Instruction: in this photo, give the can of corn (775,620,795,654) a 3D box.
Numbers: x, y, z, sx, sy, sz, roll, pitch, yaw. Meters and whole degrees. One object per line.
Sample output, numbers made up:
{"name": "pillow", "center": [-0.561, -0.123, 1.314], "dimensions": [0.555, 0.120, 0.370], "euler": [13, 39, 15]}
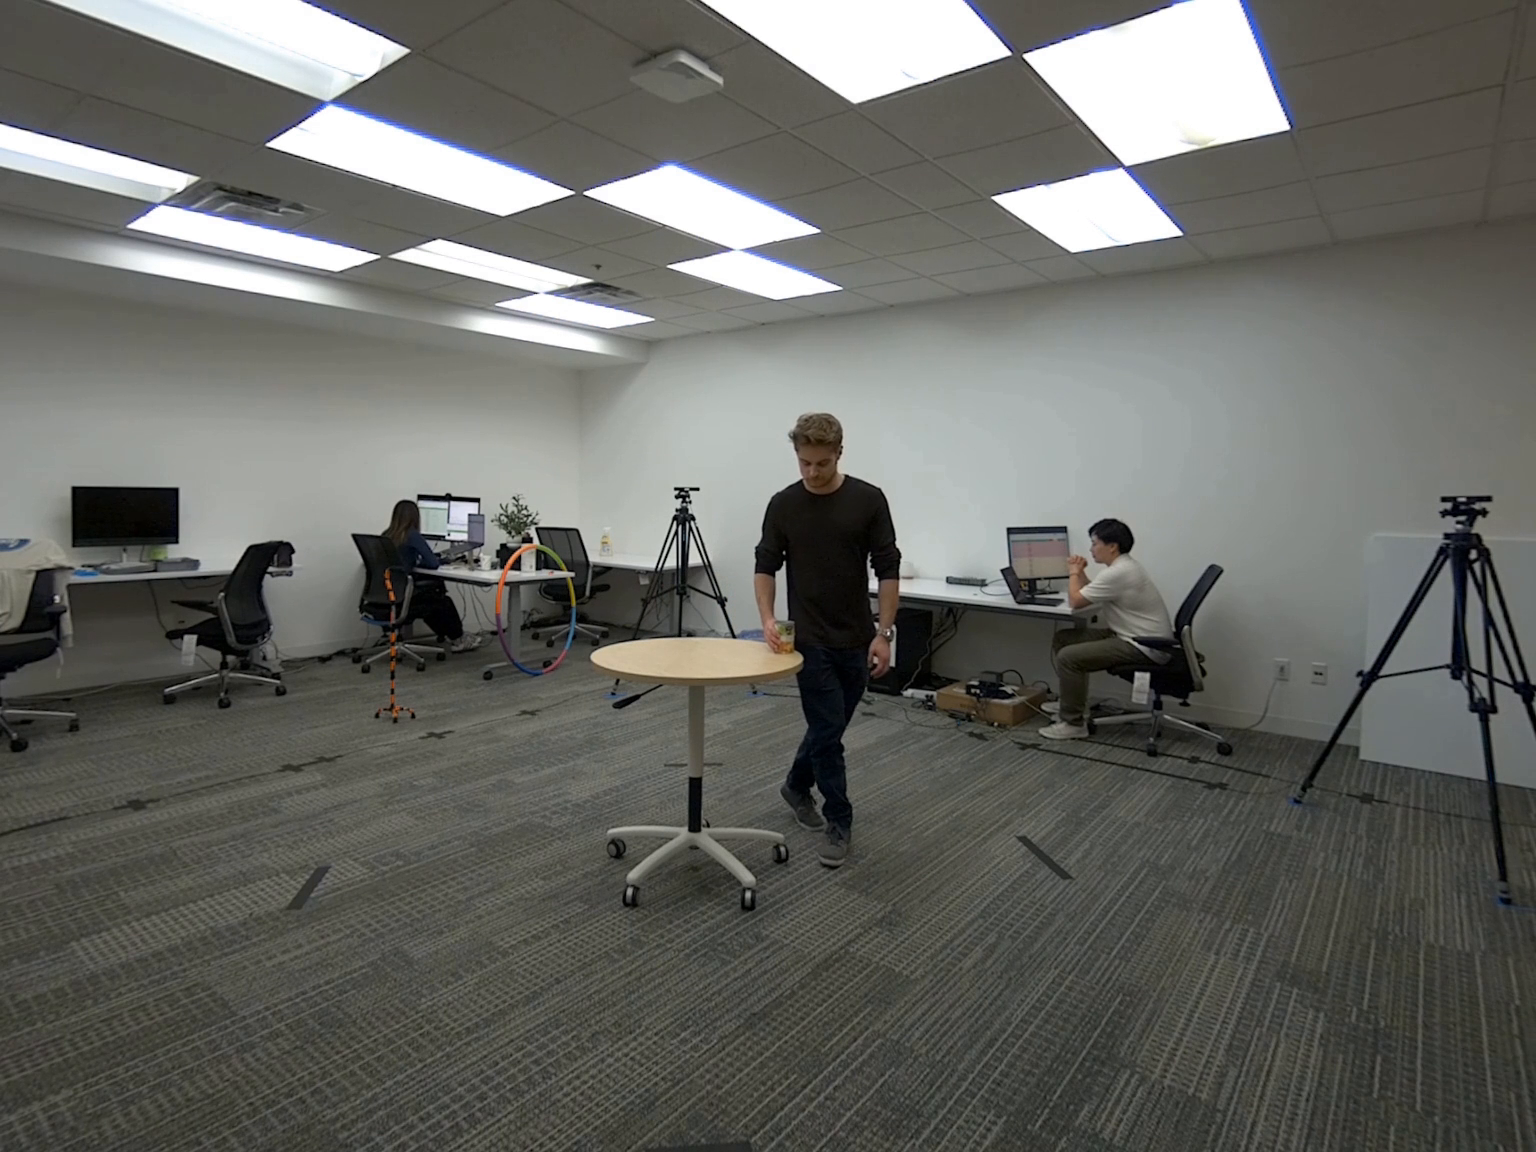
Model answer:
{"name": "can of corn", "center": [0.054, 0.227, 3.154], "dimensions": [0.074, 0.111, 0.074], "euler": [1, 1, -2]}
